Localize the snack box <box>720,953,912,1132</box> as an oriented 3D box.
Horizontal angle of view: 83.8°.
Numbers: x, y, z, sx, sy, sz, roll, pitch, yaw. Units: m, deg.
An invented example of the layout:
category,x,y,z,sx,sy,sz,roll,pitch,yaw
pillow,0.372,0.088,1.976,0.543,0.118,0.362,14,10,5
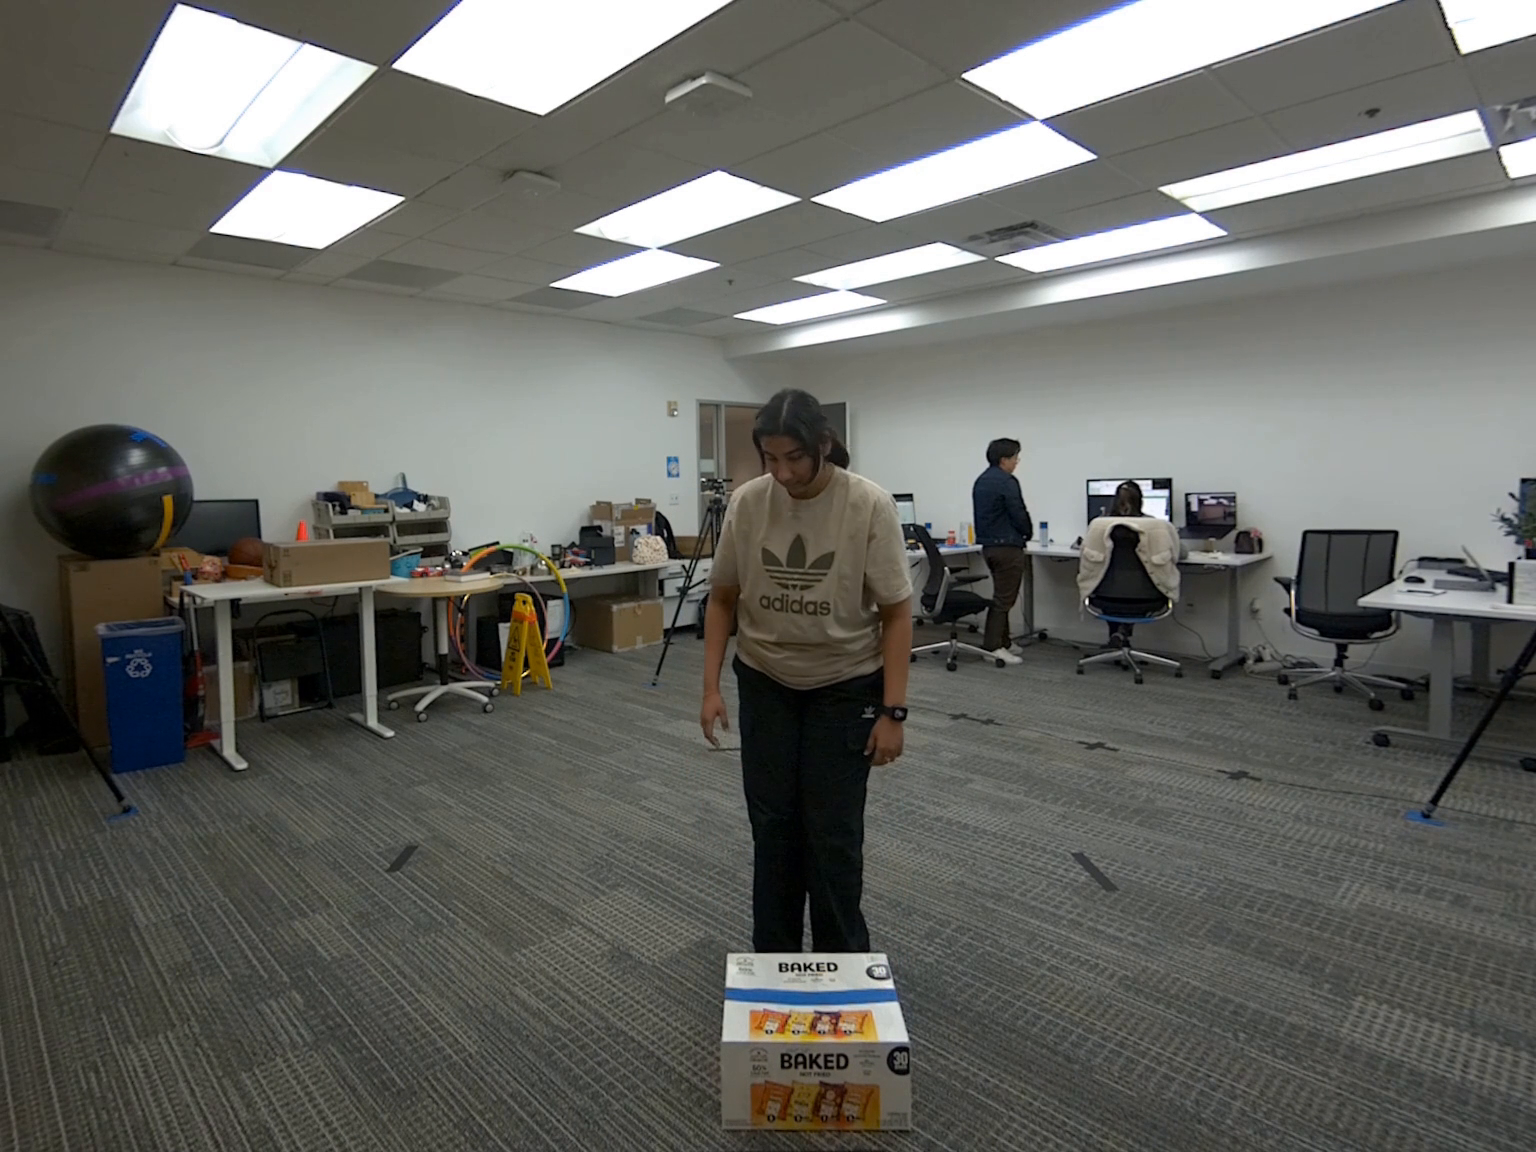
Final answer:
category,x,y,z,sx,sy,sz,roll,pitch,yaw
snack box,0.106,1.079,1.988,0.406,0.205,0.341,-2,6,1
